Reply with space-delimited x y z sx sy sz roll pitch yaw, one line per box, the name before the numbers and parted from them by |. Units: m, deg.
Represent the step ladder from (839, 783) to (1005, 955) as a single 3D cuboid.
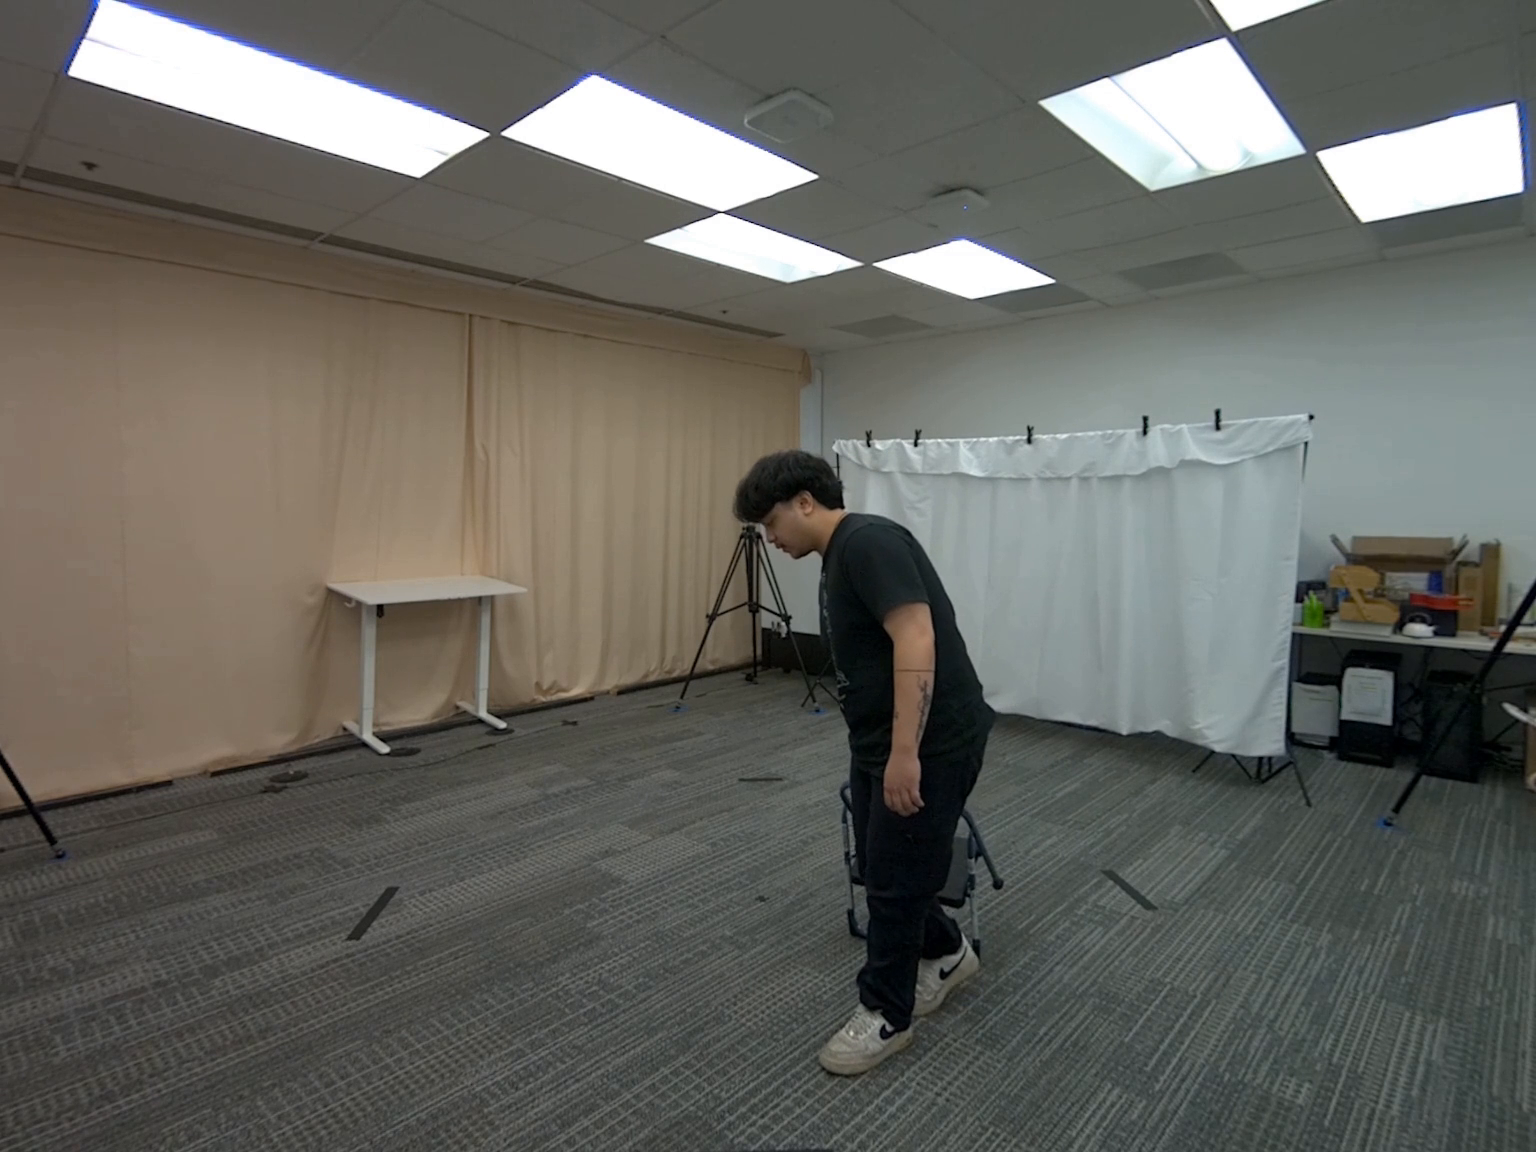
step ladder | 0.458 0.833 2.626 0.443 0.593 0.347 1 30 30
